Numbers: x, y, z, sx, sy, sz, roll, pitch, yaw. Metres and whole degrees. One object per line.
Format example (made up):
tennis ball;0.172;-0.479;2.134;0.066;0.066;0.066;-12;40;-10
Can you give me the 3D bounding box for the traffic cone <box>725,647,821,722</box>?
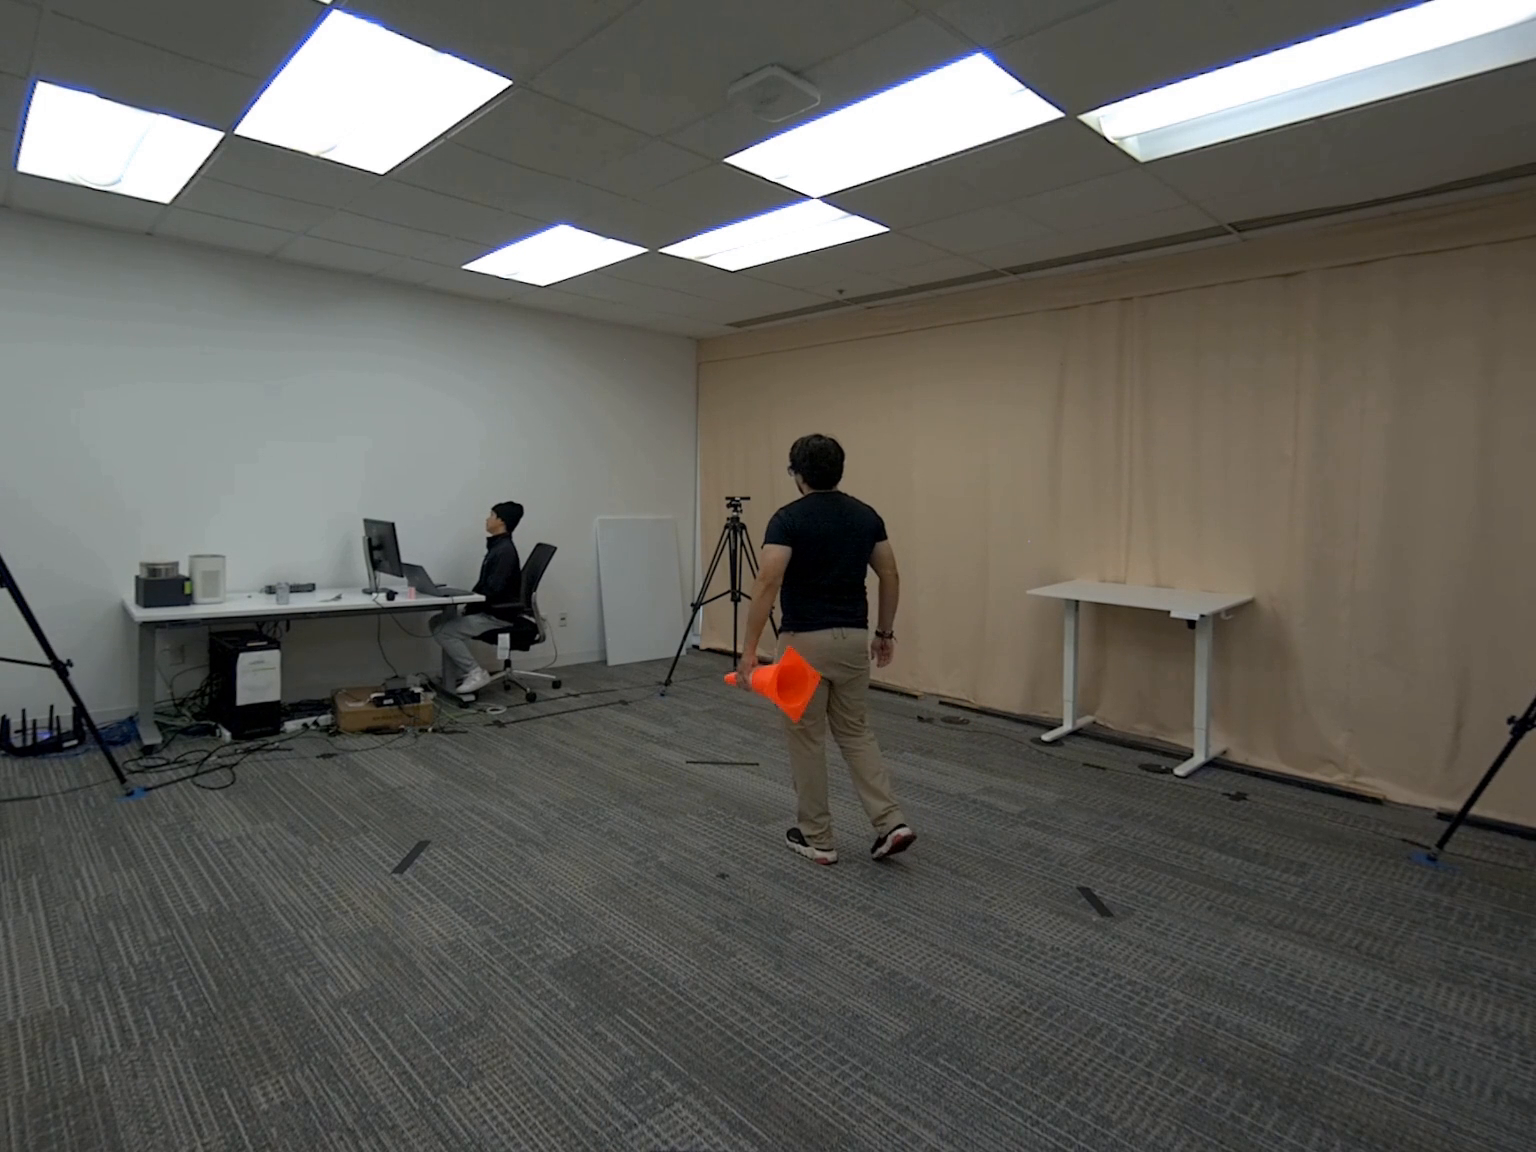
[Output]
traffic cone;-0.035;0.388;3.118;0.391;0.206;0.198;-7;-45;50
